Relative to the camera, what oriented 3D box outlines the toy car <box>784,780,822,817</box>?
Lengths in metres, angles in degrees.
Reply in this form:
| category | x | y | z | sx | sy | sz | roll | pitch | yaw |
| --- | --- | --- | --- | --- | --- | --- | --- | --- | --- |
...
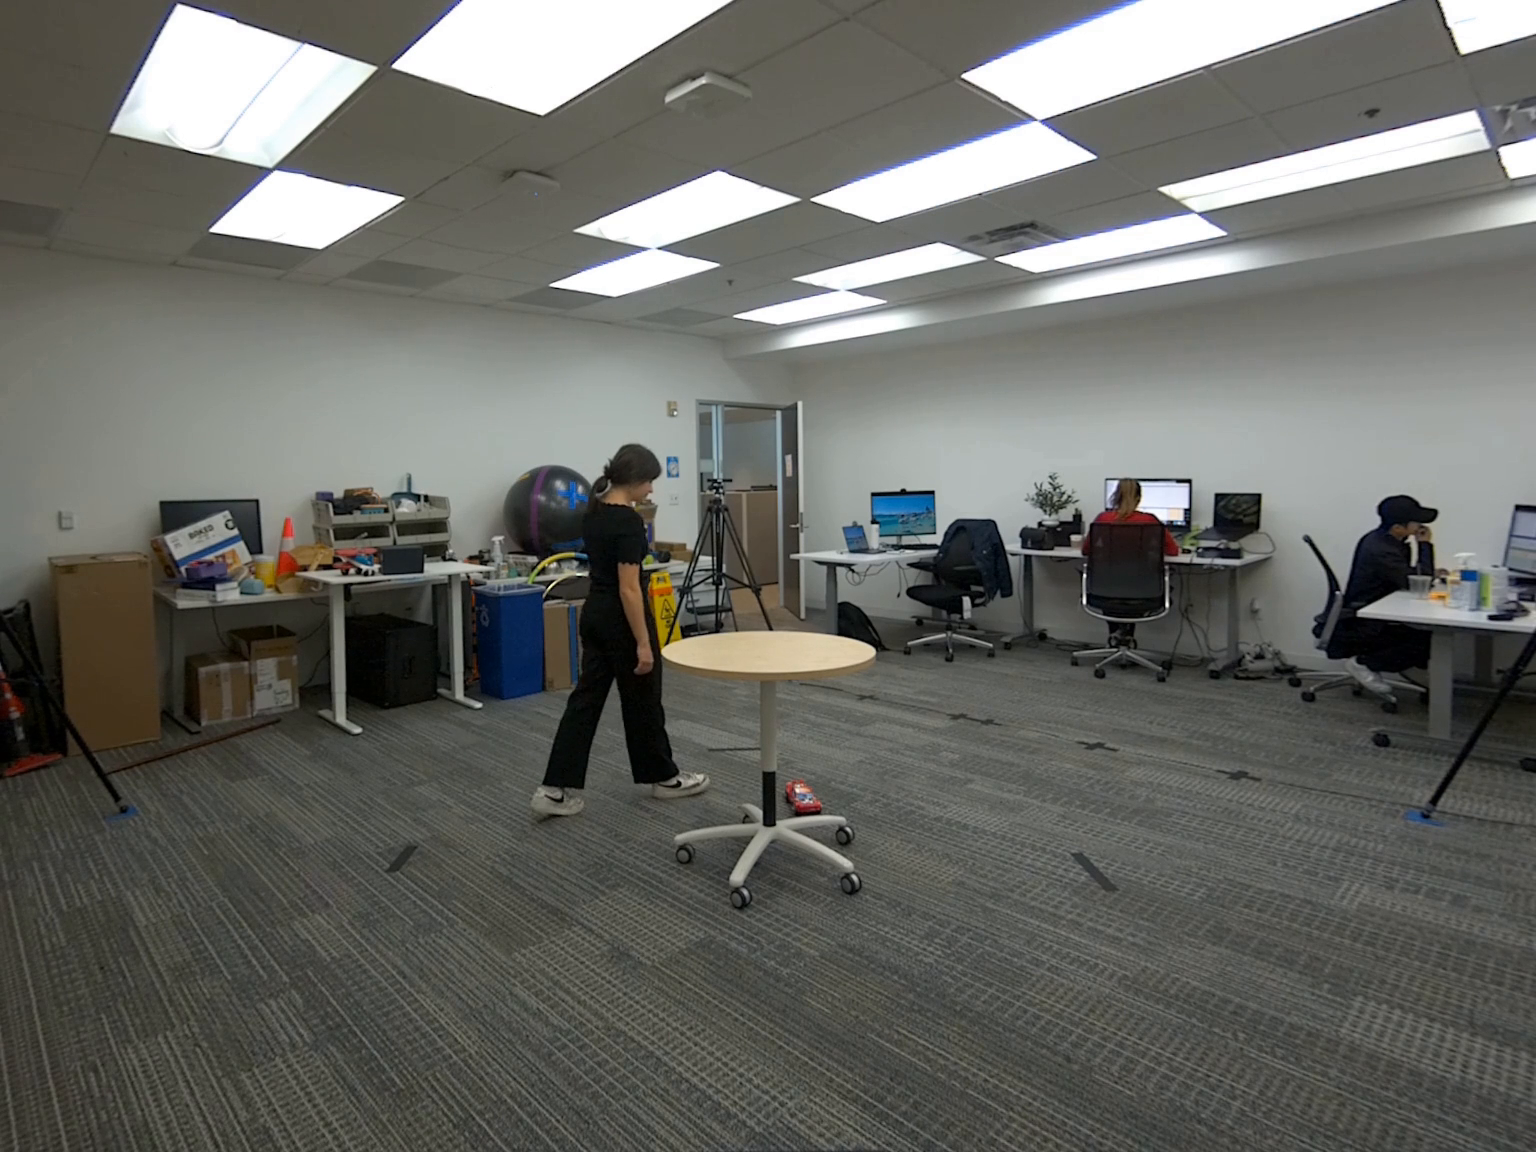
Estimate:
| category | x | y | z | sx | sy | sz | roll | pitch | yaw |
| --- | --- | --- | --- | --- | --- | --- | --- | --- | --- |
| toy car | 0.146 | 0.948 | 3.651 | 0.129 | 0.082 | 0.260 | -2 | 17 | -9 |
